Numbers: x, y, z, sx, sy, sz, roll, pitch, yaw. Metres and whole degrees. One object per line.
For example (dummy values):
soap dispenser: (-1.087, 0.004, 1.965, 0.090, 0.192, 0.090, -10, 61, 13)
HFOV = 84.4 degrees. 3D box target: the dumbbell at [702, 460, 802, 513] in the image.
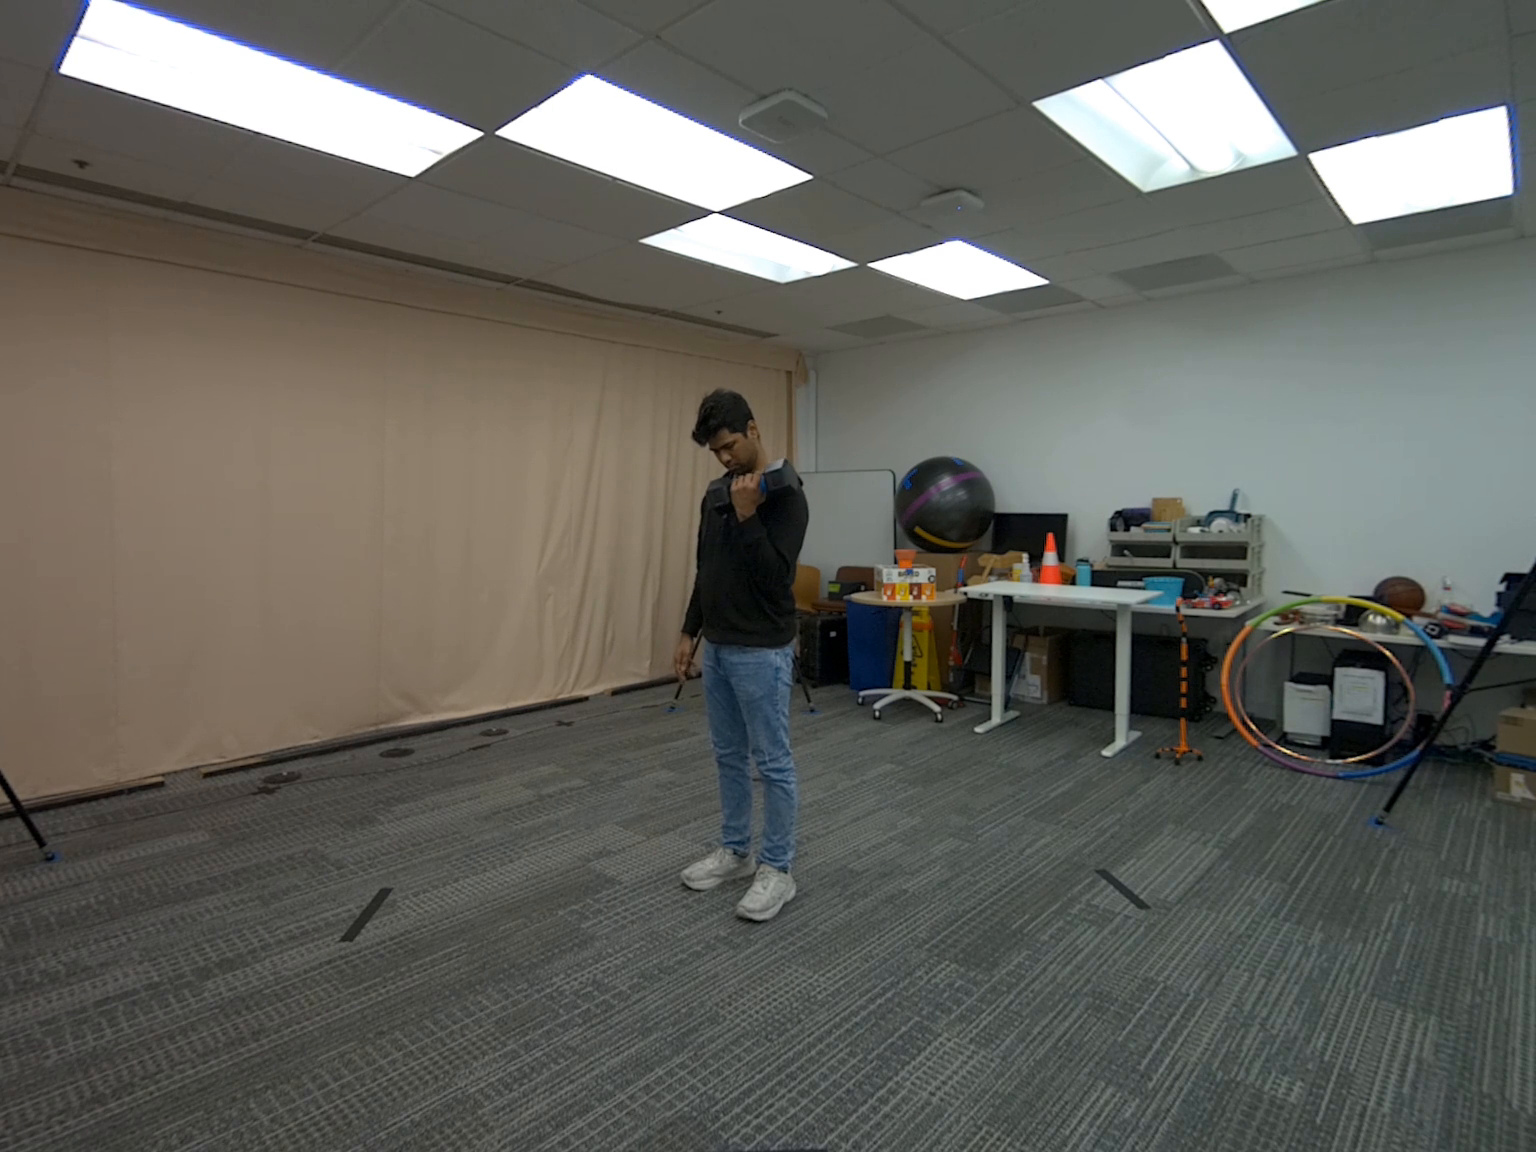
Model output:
dumbbell: (-0.056, -0.275, 2.733, 0.300, 0.106, 0.123, -15, 32, 26)
